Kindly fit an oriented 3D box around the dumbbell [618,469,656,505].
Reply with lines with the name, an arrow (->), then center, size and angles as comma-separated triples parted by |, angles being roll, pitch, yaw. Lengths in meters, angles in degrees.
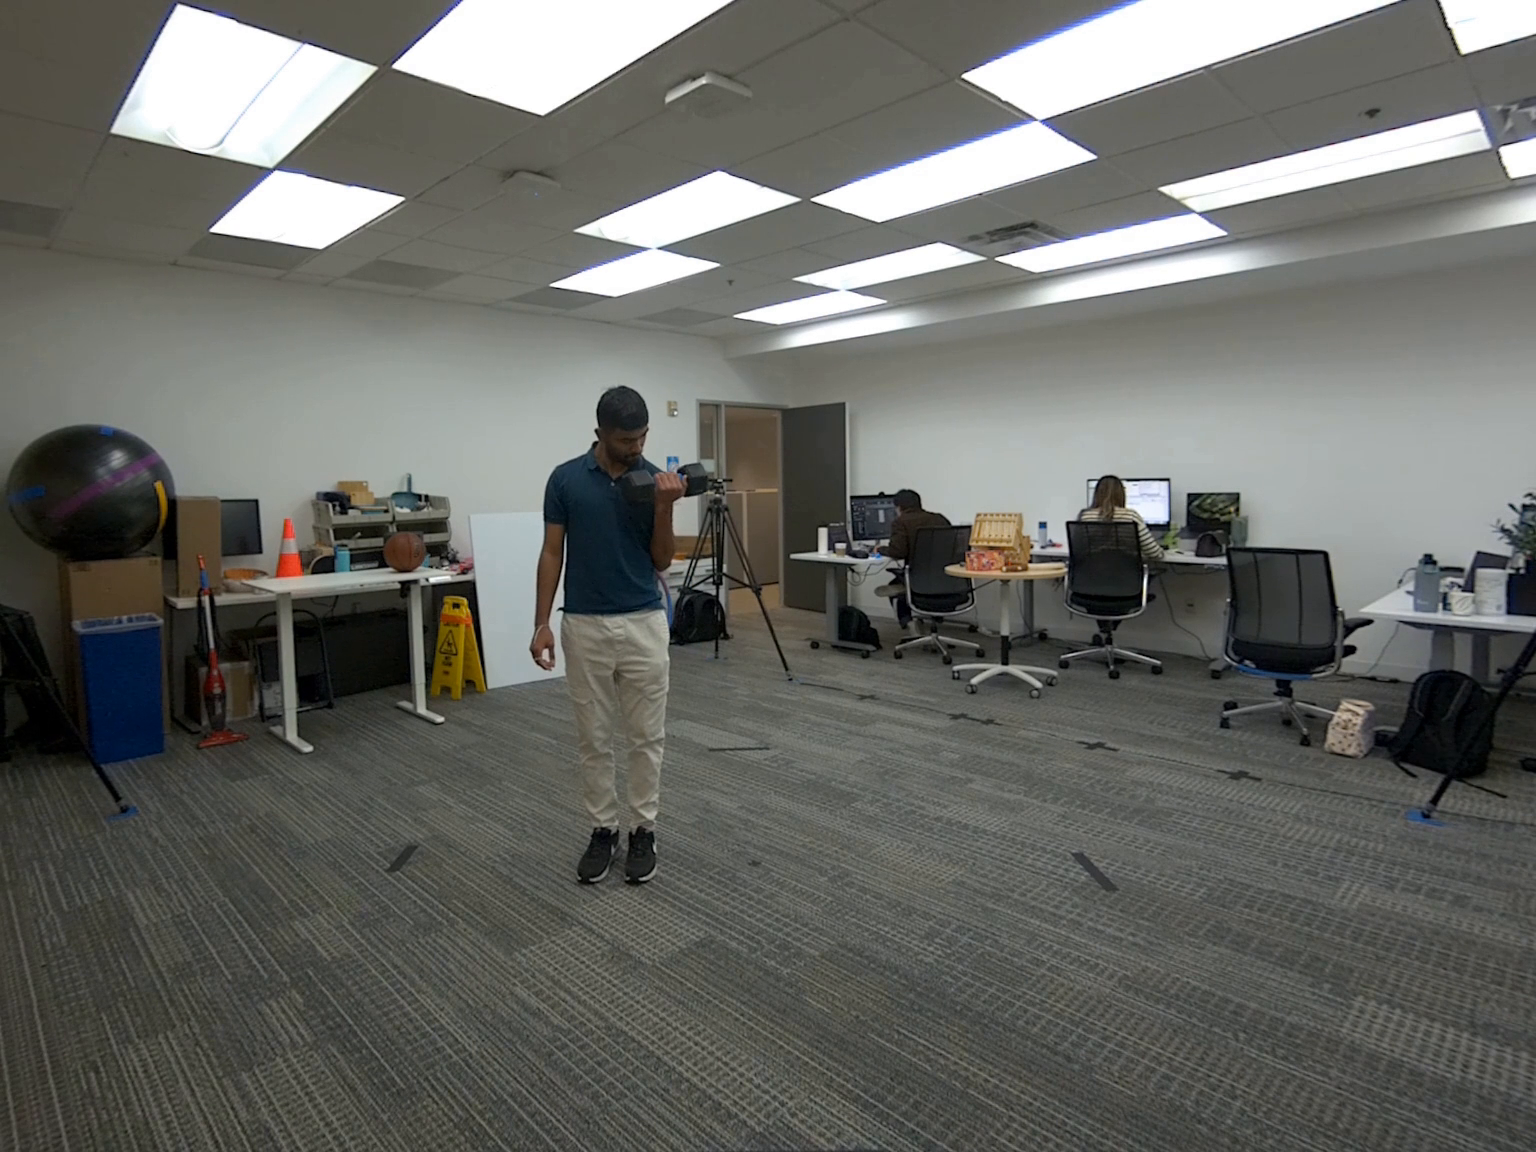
dumbbell -> -0.354, -0.306, 2.924 | 0.288, 0.120, 0.113 | -13, 32, -32
